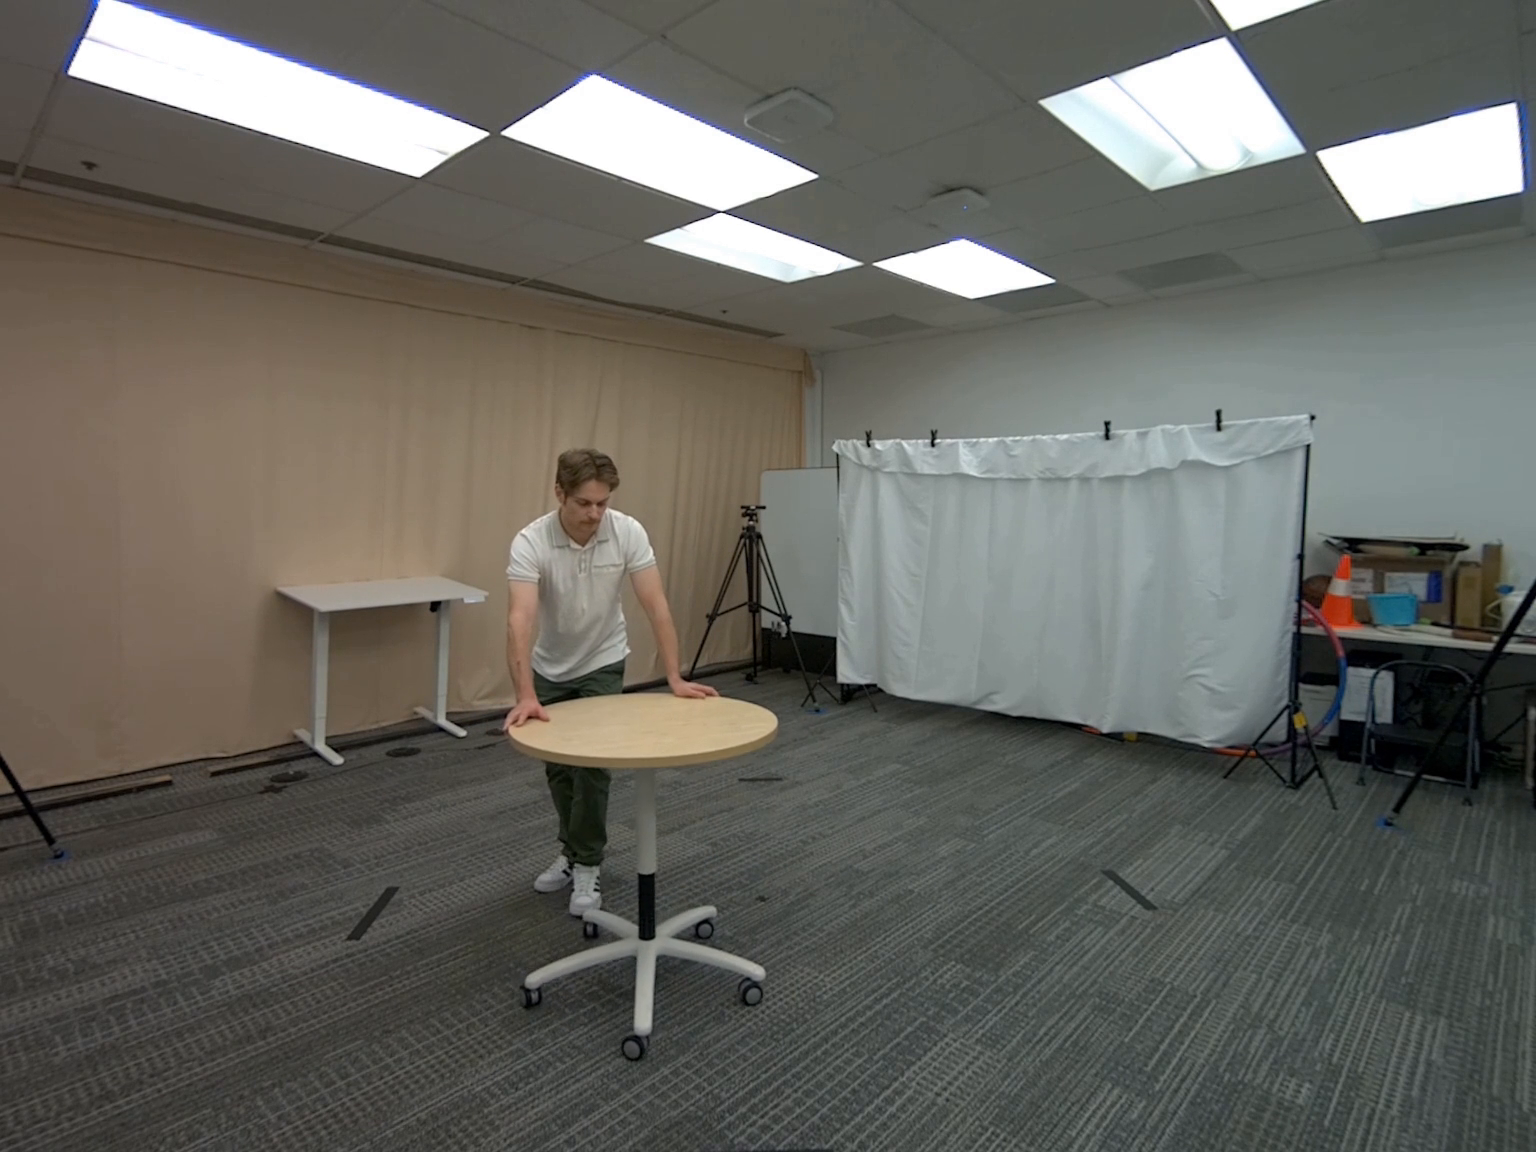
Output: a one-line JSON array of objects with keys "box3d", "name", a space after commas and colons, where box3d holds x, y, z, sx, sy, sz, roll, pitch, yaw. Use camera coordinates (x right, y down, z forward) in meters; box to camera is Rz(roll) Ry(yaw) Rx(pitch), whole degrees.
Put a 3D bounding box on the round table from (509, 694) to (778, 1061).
[{"box3d": [-0.348, 0.807, 2.437, 0.763, 0.792, 0.766, 0, 3, -2], "name": "round table"}]
